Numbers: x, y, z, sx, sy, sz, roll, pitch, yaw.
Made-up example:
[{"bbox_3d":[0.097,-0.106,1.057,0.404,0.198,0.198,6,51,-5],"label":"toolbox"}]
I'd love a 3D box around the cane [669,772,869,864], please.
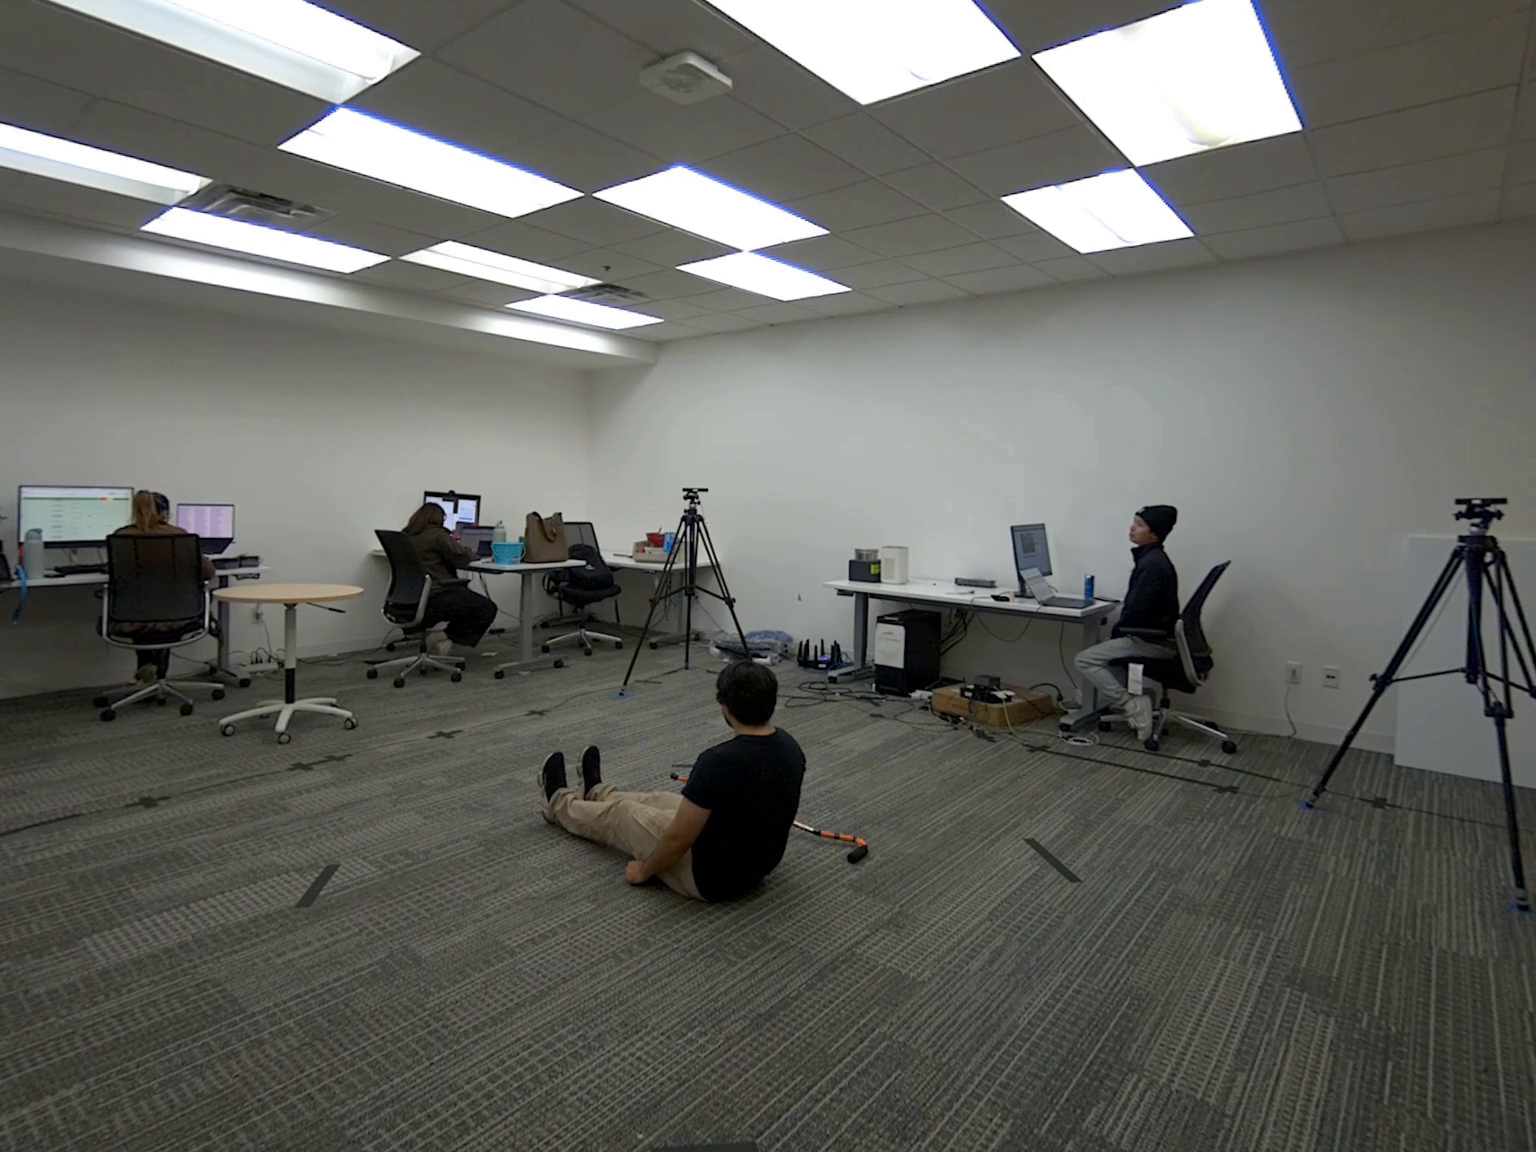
[{"bbox_3d":[-0.016,0.980,3.518,0.940,0.151,0.200,11,8,36],"label":"cane"}]
